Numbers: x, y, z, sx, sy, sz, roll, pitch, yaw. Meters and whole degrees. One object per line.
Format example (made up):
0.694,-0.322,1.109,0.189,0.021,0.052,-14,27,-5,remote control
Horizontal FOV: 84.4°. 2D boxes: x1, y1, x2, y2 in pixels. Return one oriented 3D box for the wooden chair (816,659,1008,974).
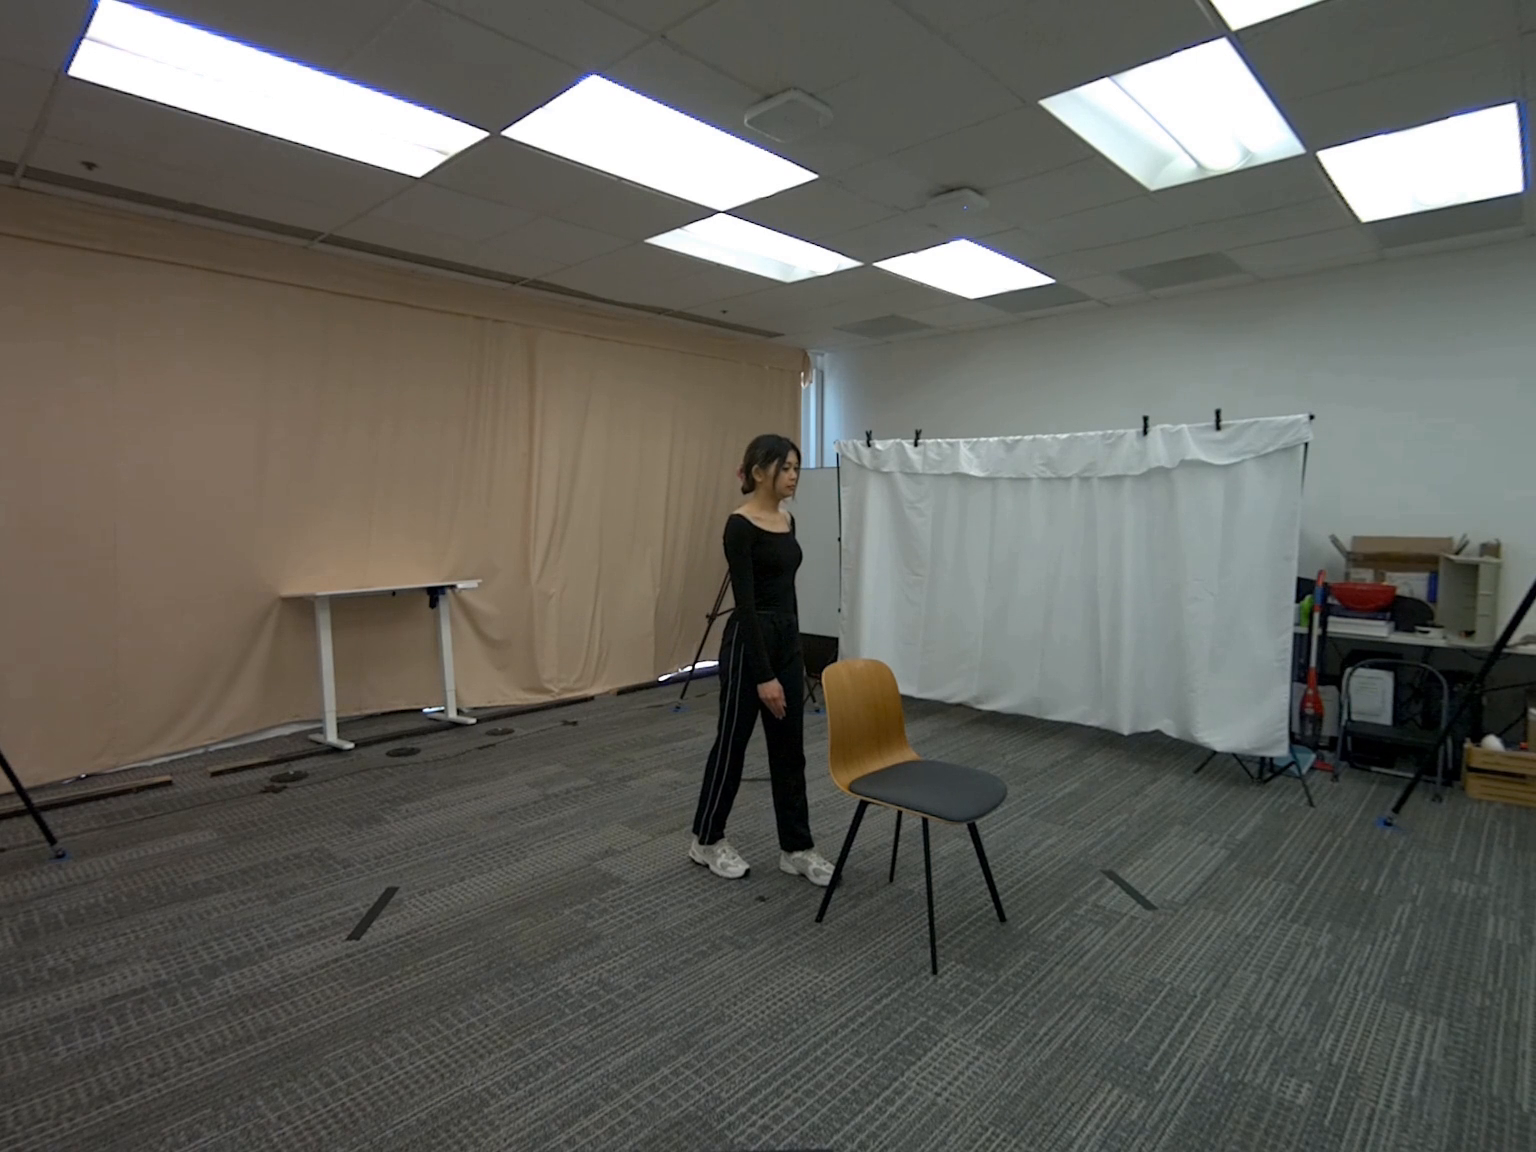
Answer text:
0.491,0.733,2.774,0.539,0.877,0.463,-3,0,43,wooden chair
